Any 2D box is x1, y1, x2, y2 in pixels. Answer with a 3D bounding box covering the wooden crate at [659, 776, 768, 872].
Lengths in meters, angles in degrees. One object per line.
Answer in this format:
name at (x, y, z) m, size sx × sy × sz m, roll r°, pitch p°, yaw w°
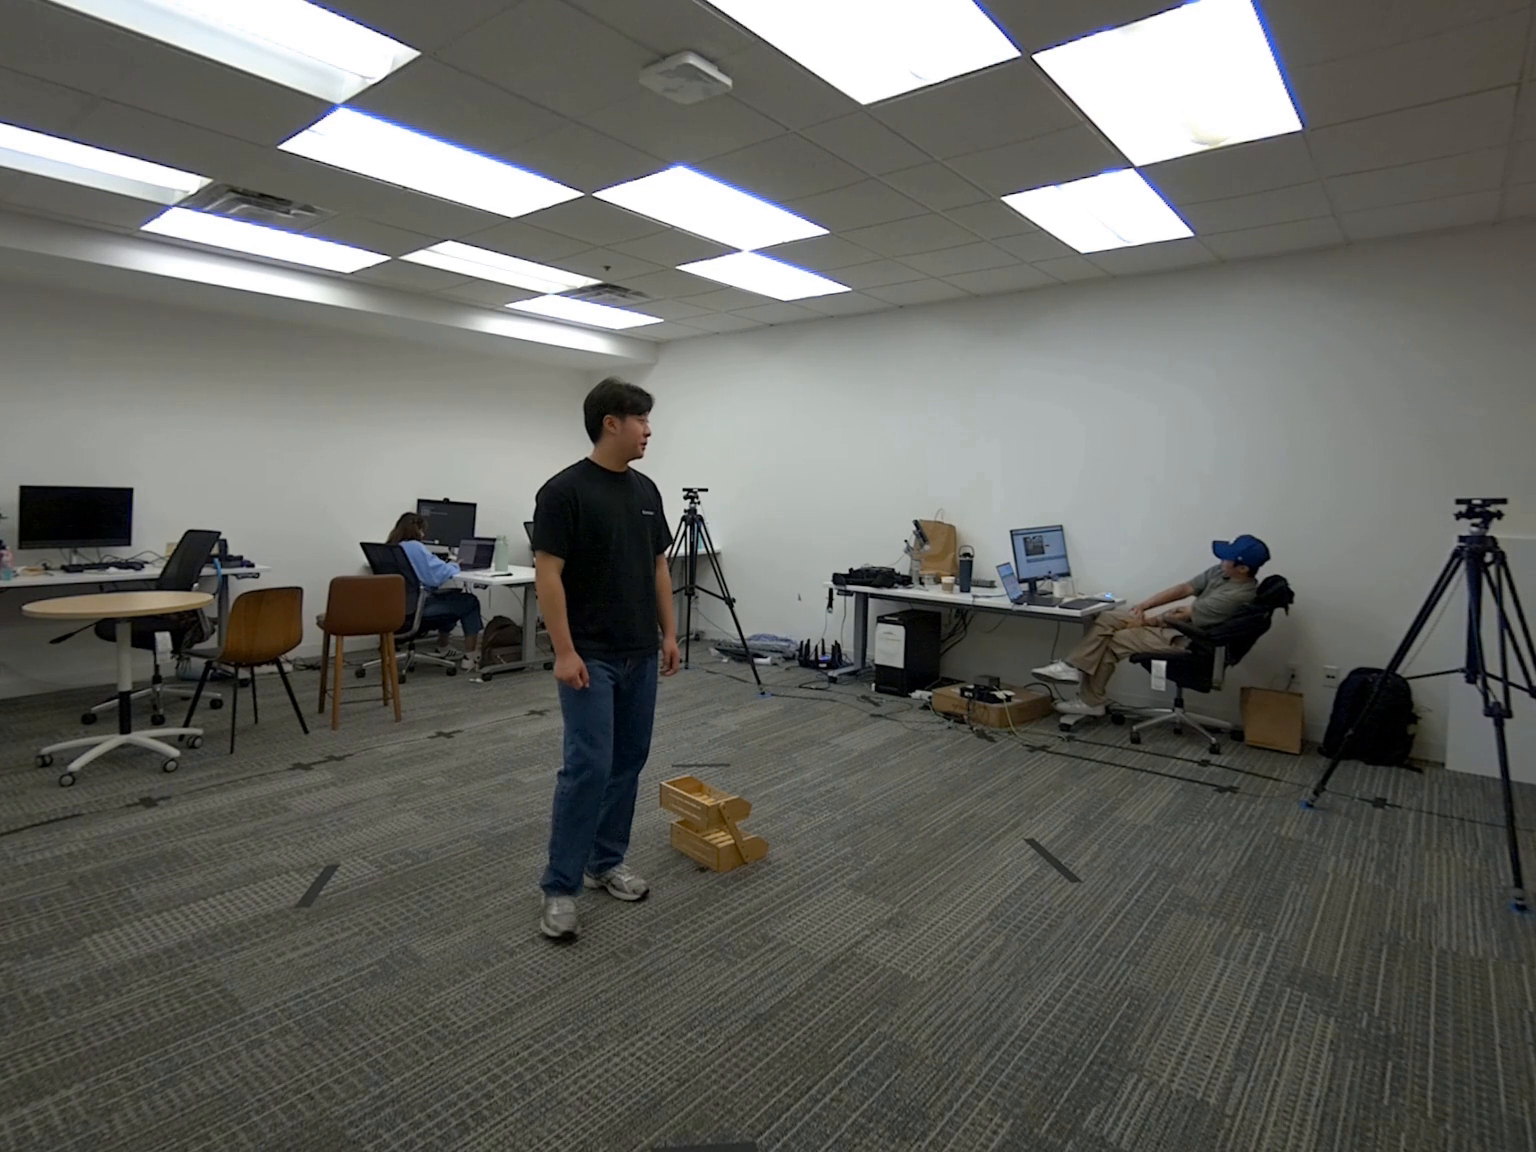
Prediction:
wooden crate at (-0.214, 0.922, 3.258) m, size 0.293 × 0.272 × 0.335 m, roll -3°, pitch 6°, yaw -41°
